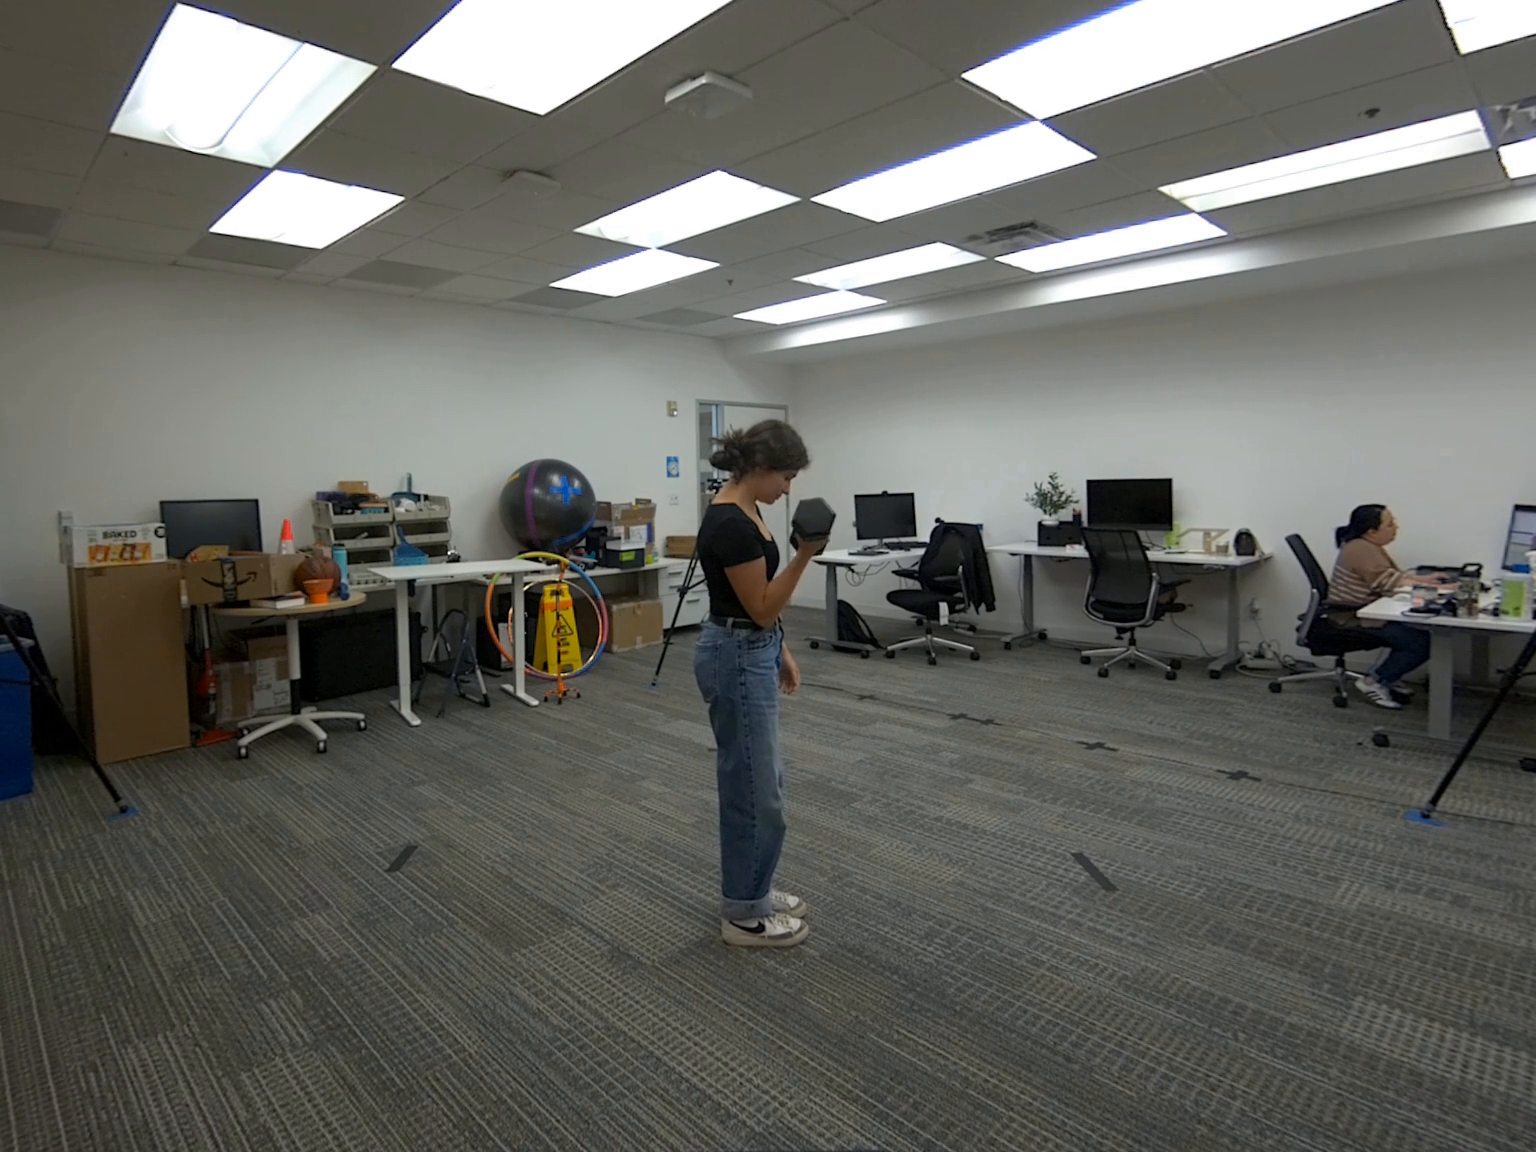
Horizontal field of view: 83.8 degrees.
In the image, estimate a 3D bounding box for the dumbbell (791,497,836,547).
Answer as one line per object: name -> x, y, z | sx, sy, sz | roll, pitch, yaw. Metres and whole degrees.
dumbbell -> 0.127, -0.128, 2.424 | 0.109, 0.123, 0.290 | 23, -10, 3
